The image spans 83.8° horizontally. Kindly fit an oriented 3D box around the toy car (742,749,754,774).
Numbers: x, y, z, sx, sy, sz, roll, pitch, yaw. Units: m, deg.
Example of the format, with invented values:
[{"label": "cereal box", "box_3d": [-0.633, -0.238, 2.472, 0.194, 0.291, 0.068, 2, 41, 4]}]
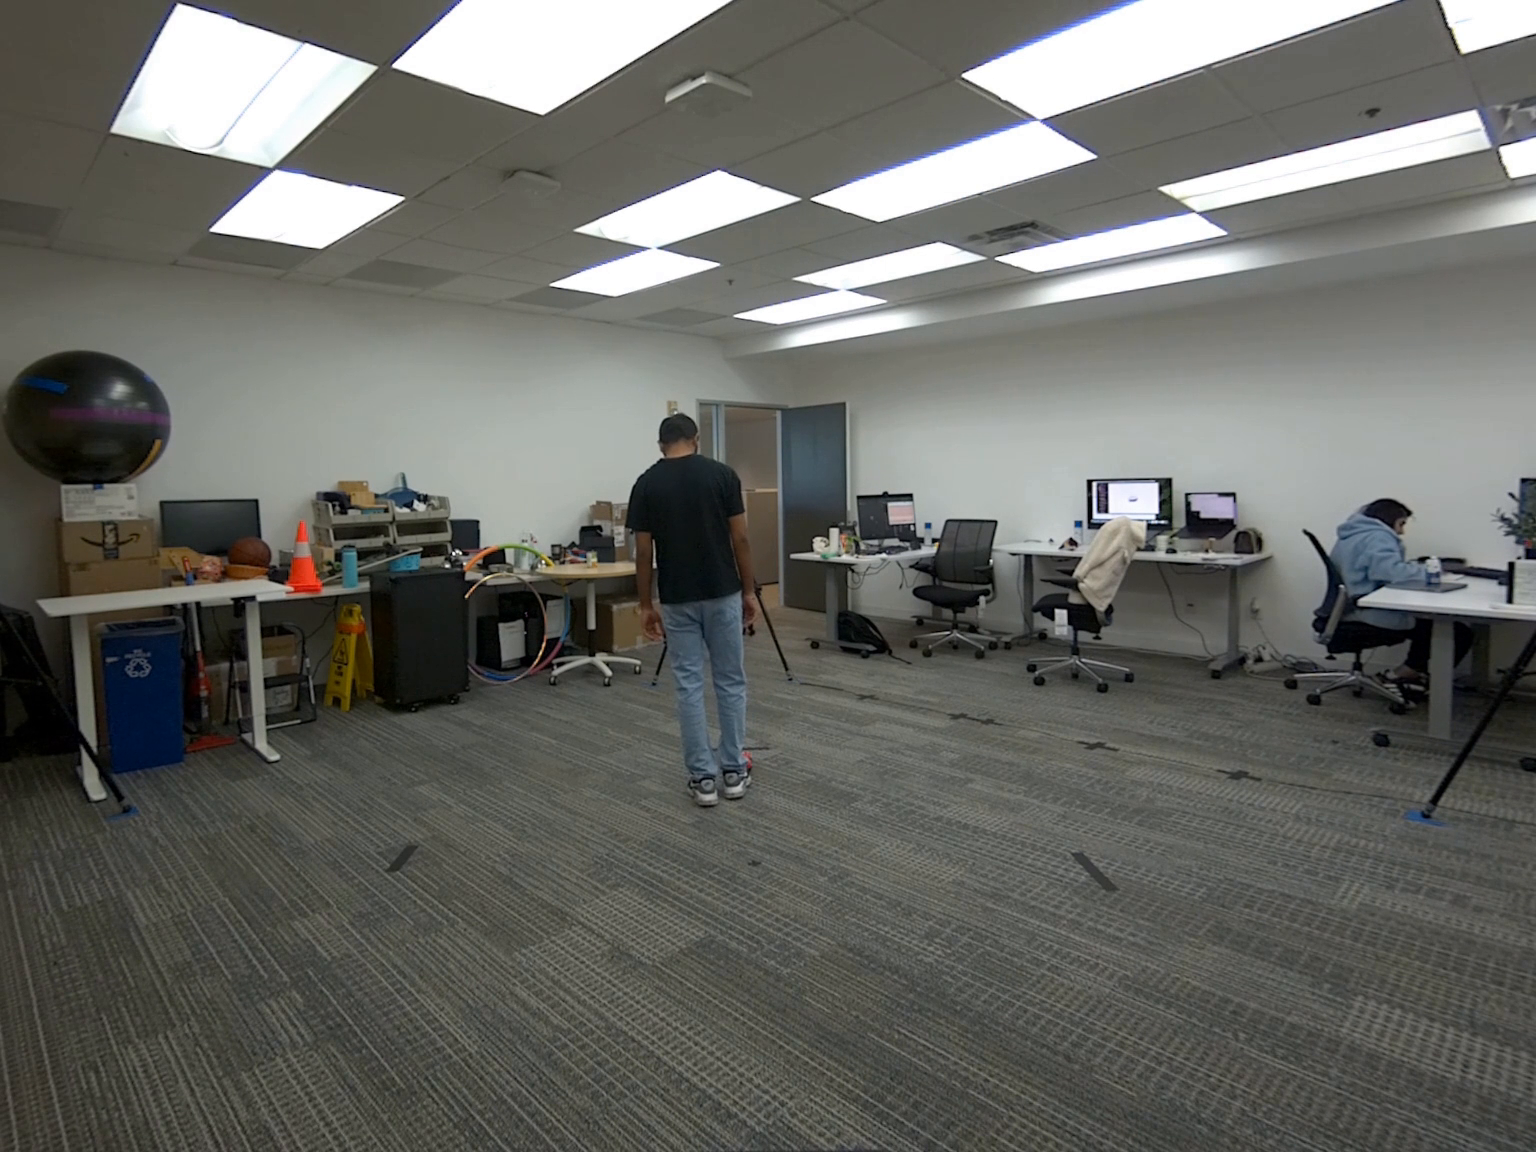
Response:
[{"label": "toy car", "box_3d": [-0.131, 0.899, 4.131, 0.131, 0.084, 0.252, -1, -7, 2]}]
